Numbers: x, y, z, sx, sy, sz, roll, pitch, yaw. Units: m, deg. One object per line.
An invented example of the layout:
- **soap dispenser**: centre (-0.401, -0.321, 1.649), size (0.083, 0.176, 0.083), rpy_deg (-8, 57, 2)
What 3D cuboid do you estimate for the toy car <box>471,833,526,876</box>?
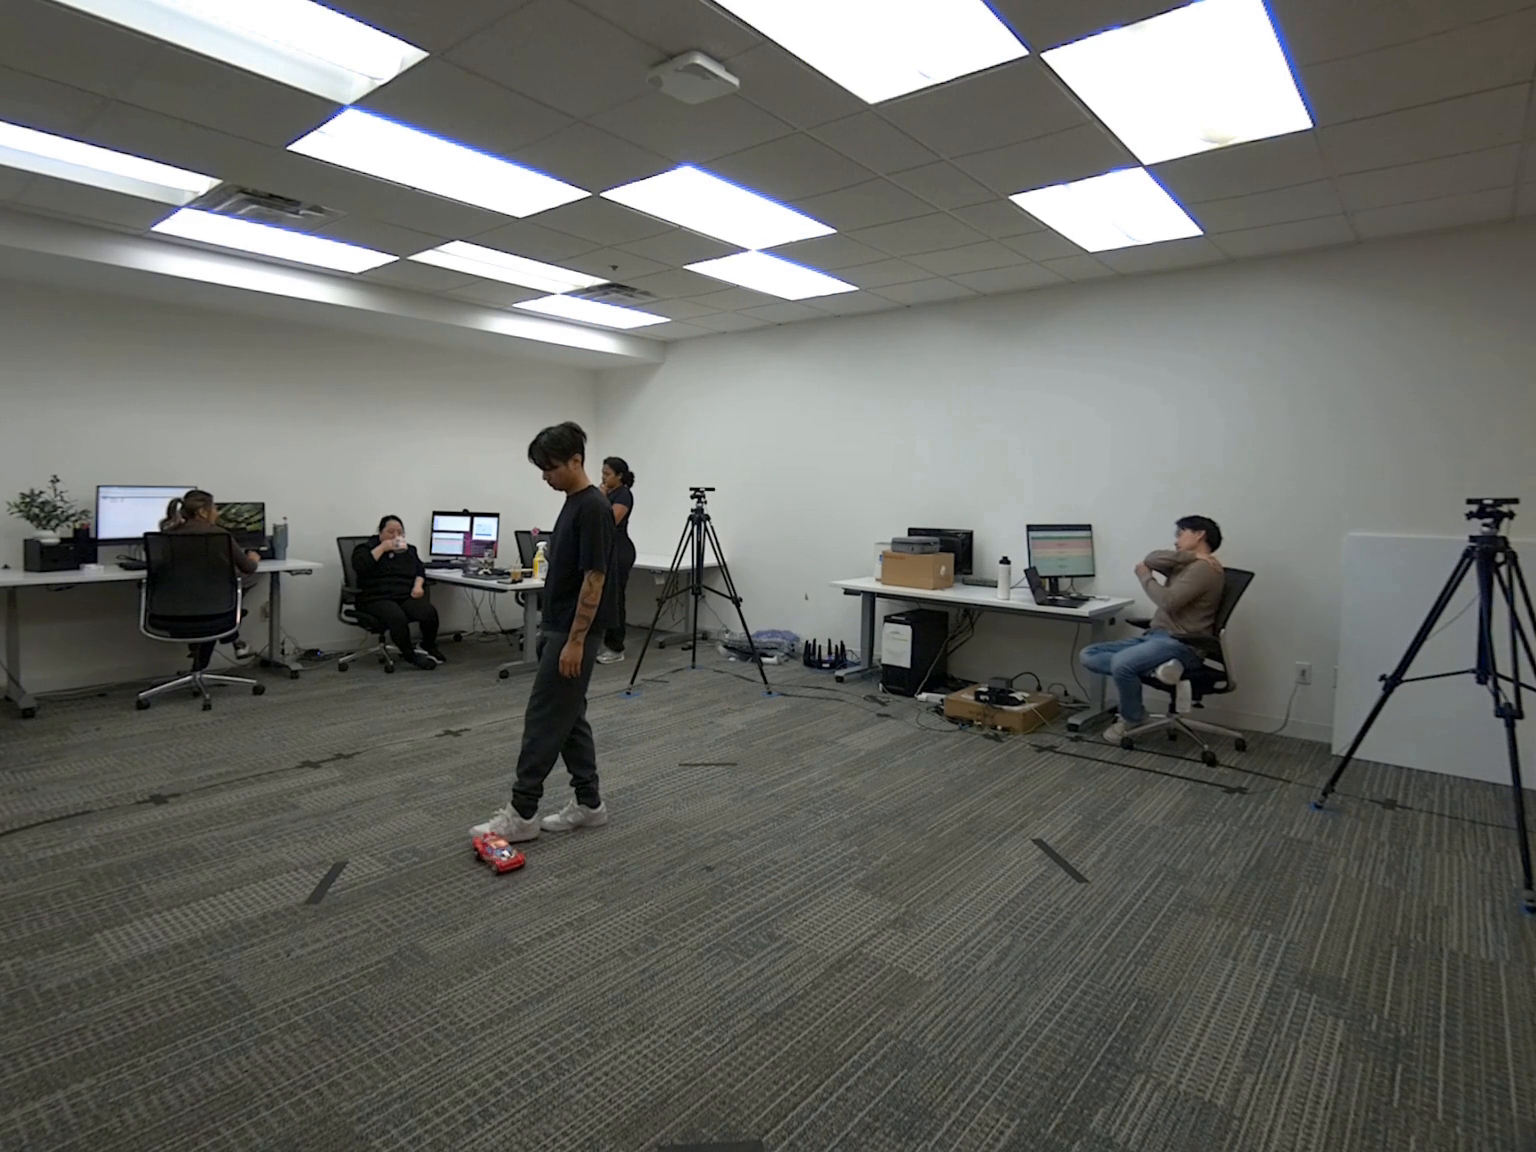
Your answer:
- **toy car**: centre (-1.013, 1.020, 3.129), size (0.126, 0.082, 0.265), rpy_deg (-4, 19, -41)
